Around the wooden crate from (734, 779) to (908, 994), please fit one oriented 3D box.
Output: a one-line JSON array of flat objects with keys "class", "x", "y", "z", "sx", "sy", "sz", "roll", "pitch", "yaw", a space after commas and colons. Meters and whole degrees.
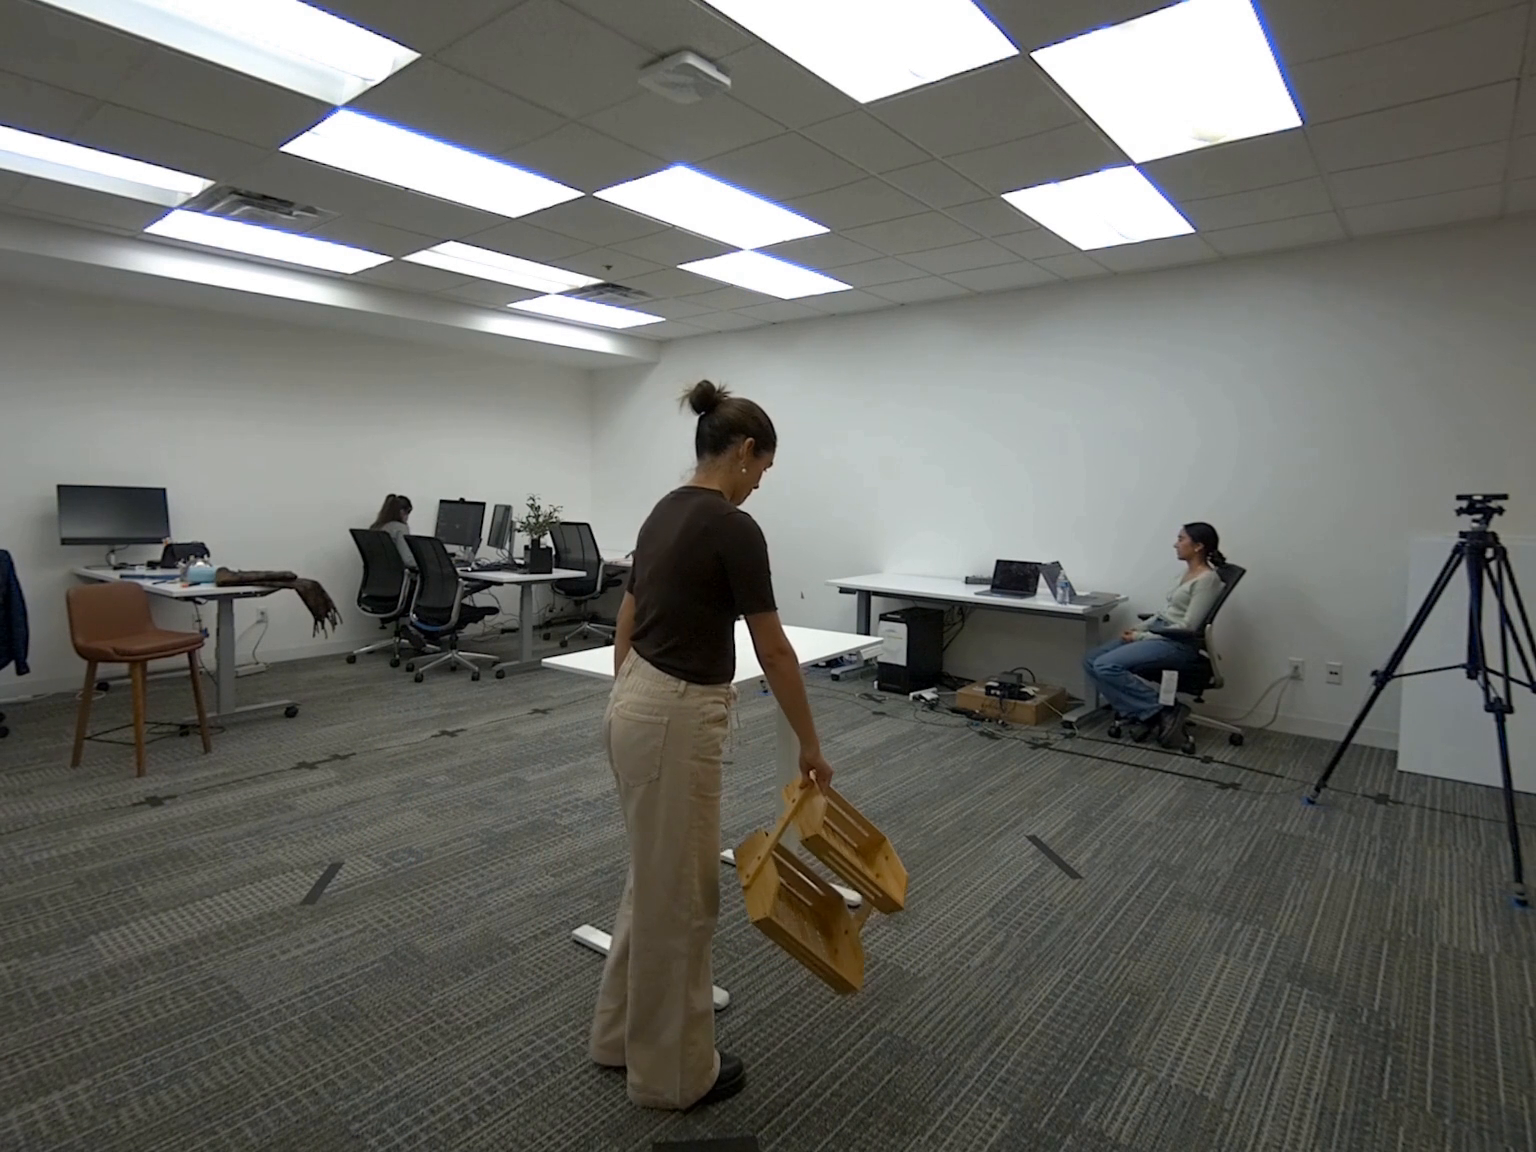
[{"class": "wooden crate", "x": 0.130, "y": 0.676, "z": 1.901, "sx": 0.315, "sy": 0.273, "sz": 0.311, "roll": 43, "pitch": 3, "yaw": -23}]
